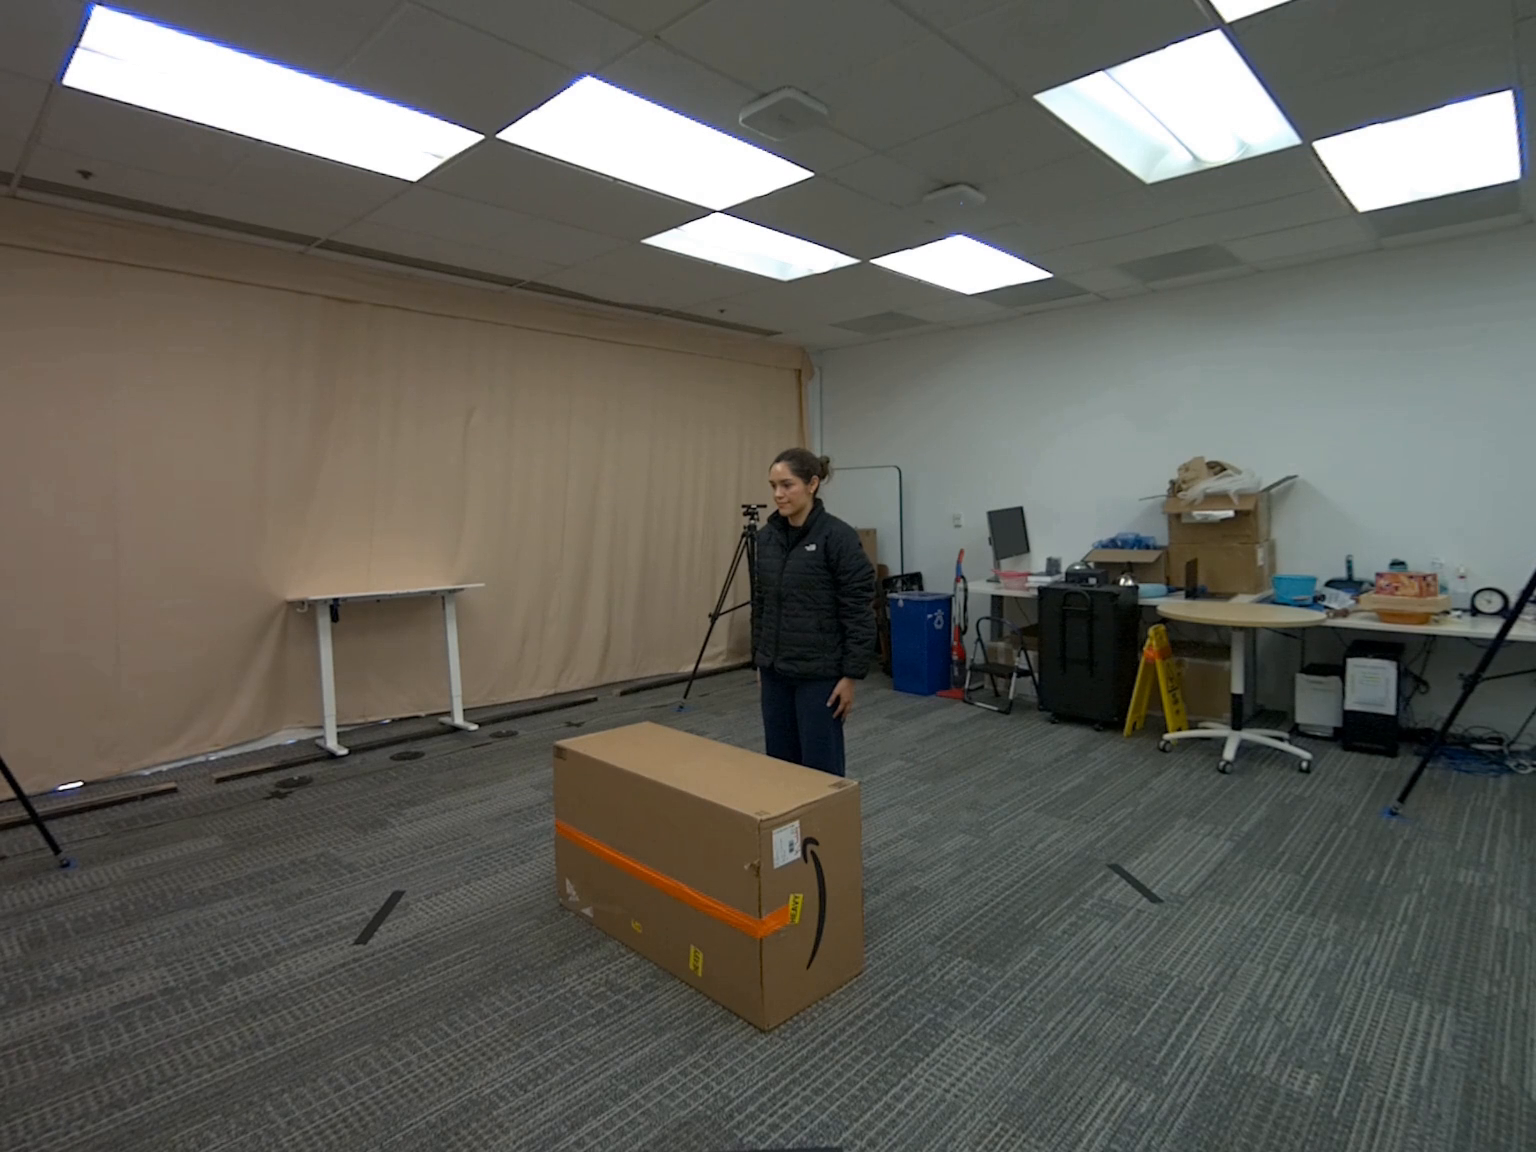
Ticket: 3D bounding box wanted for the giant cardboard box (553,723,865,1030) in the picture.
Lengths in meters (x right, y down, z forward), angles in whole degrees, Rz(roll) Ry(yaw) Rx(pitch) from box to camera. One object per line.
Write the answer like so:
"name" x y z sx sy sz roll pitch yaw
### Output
"giant cardboard box" -0.223 0.883 2.713 0.433 0.583 1.061 -3 4 -43
